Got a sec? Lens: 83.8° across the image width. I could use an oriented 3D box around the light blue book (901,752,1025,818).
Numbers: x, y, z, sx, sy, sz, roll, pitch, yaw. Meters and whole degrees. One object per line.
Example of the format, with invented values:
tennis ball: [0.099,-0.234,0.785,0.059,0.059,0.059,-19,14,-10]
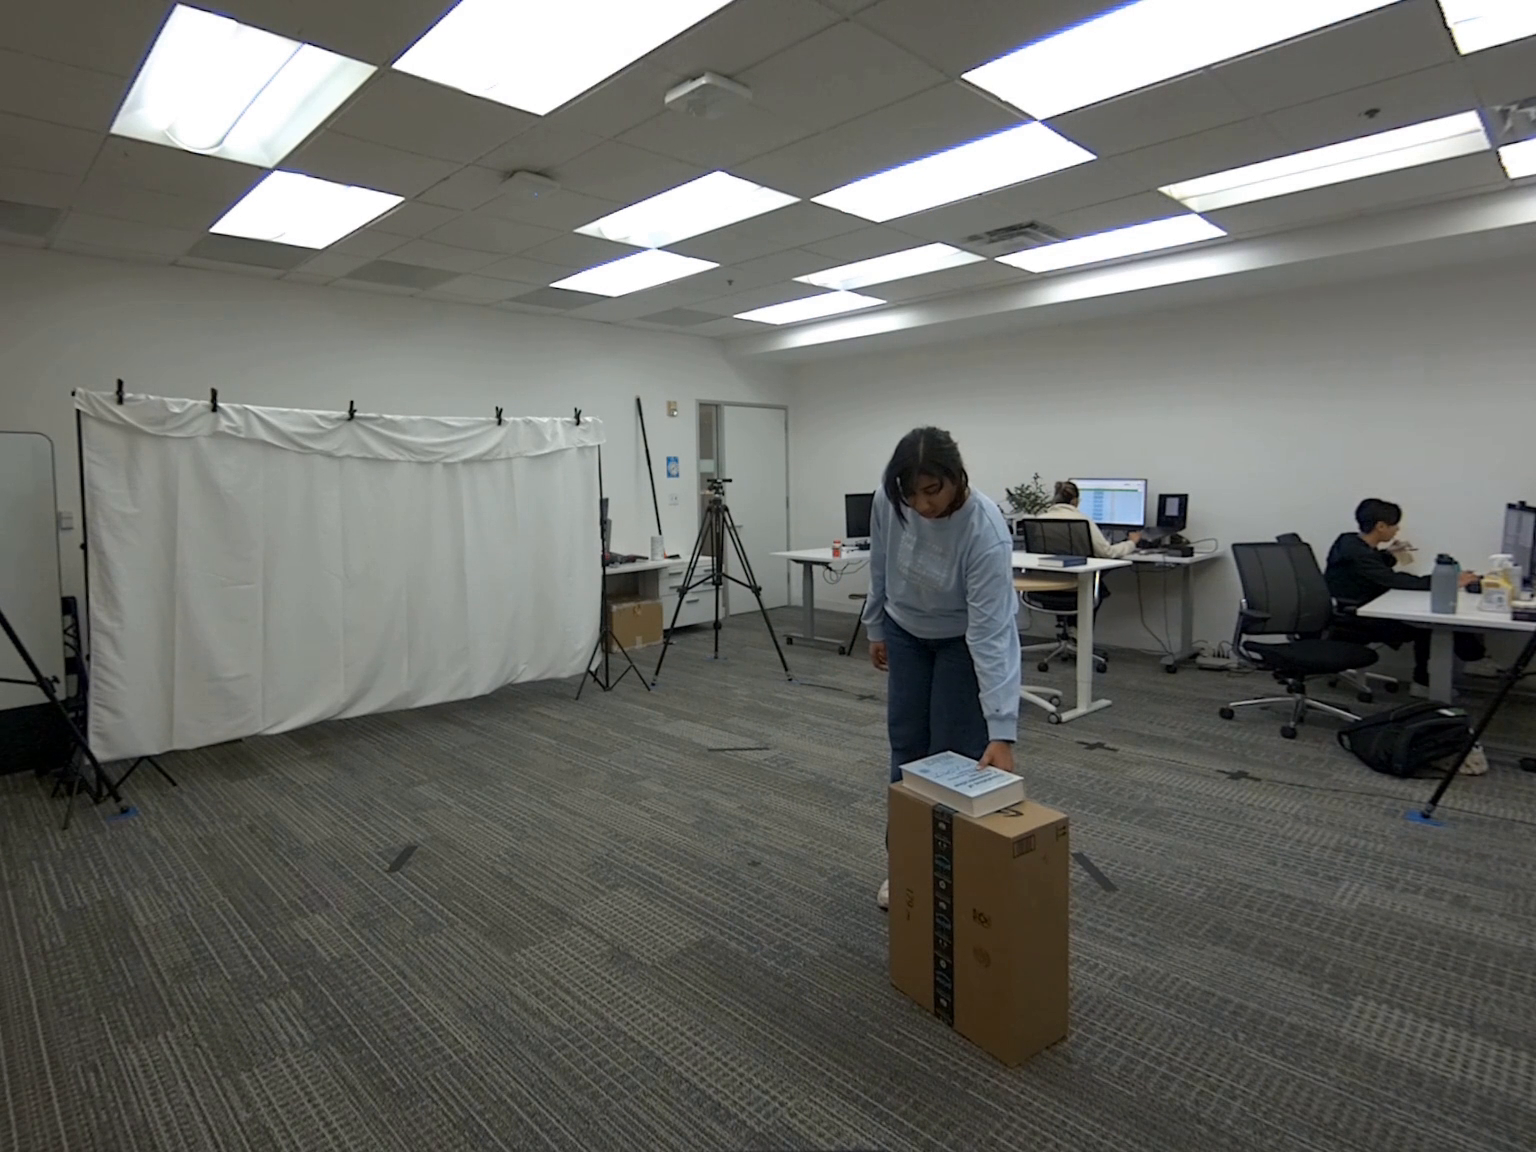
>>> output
light blue book: [0.498,0.540,2.238,0.187,0.058,0.268,-9,10,-31]
